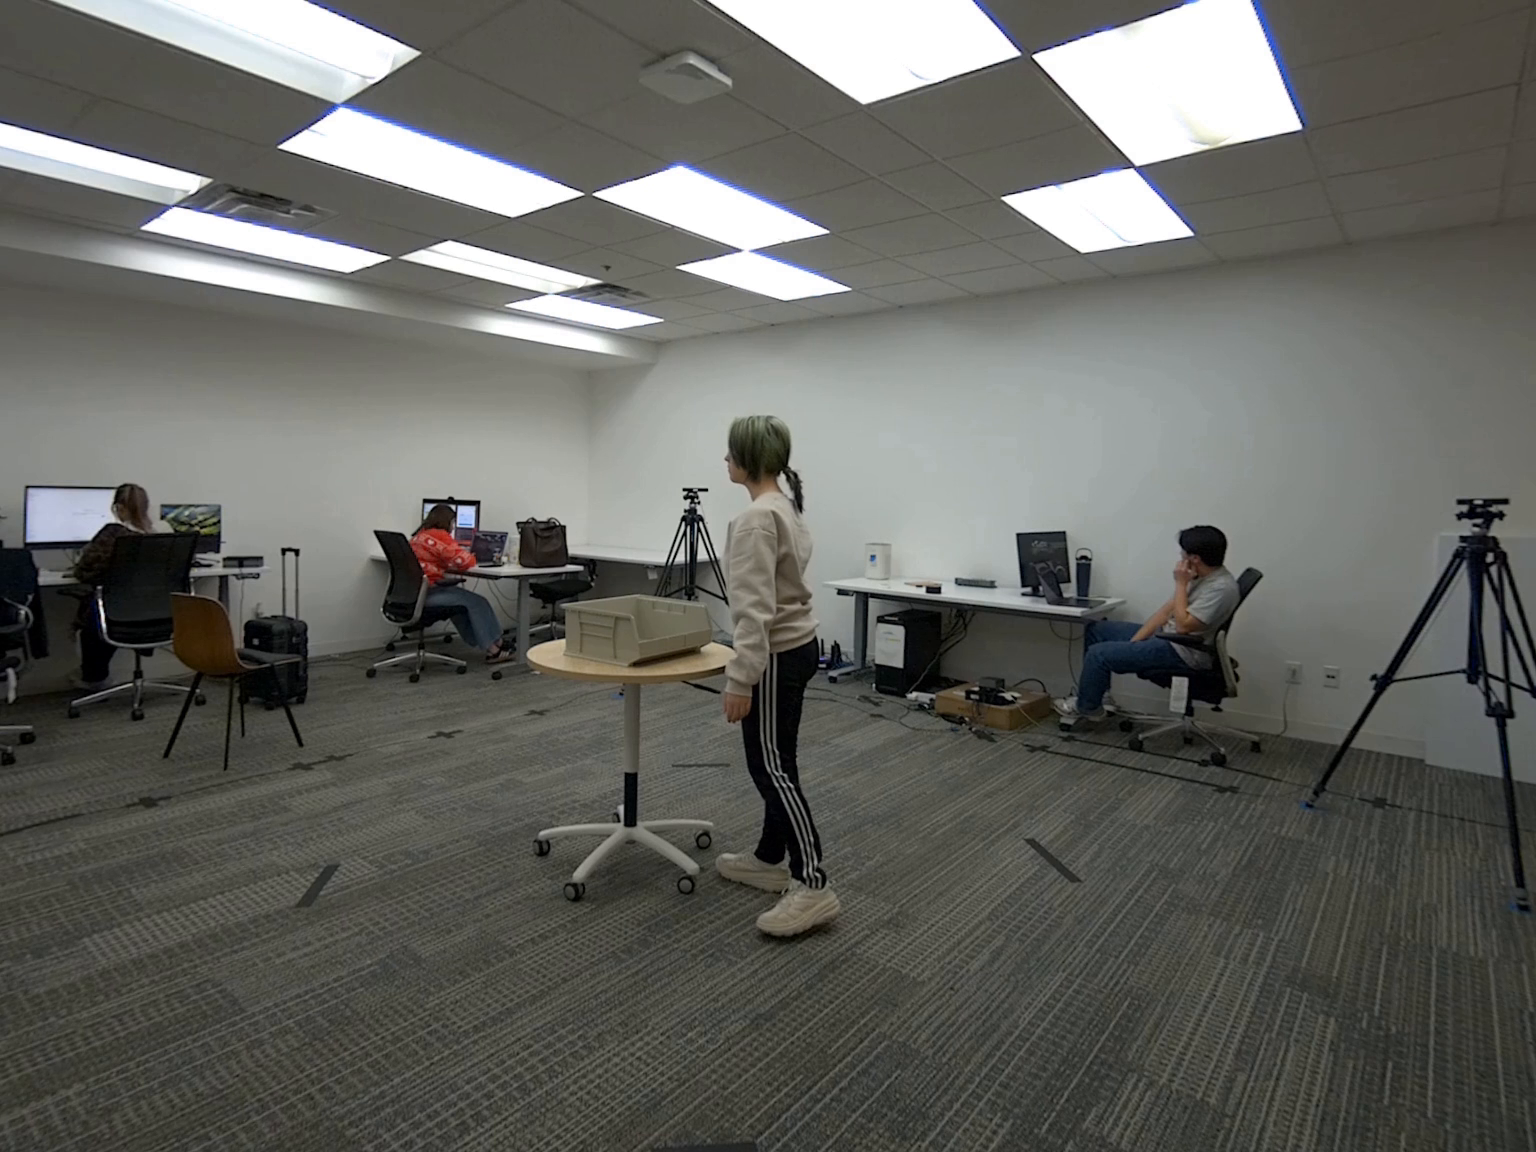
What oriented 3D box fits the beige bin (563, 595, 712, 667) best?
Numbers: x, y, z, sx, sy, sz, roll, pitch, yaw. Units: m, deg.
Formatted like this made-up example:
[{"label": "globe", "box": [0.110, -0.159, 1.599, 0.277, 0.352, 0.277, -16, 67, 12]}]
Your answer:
[{"label": "beige bin", "box": [-0.486, 0.193, 3.104, 0.389, 0.188, 0.411, 4, 6, 35]}]
